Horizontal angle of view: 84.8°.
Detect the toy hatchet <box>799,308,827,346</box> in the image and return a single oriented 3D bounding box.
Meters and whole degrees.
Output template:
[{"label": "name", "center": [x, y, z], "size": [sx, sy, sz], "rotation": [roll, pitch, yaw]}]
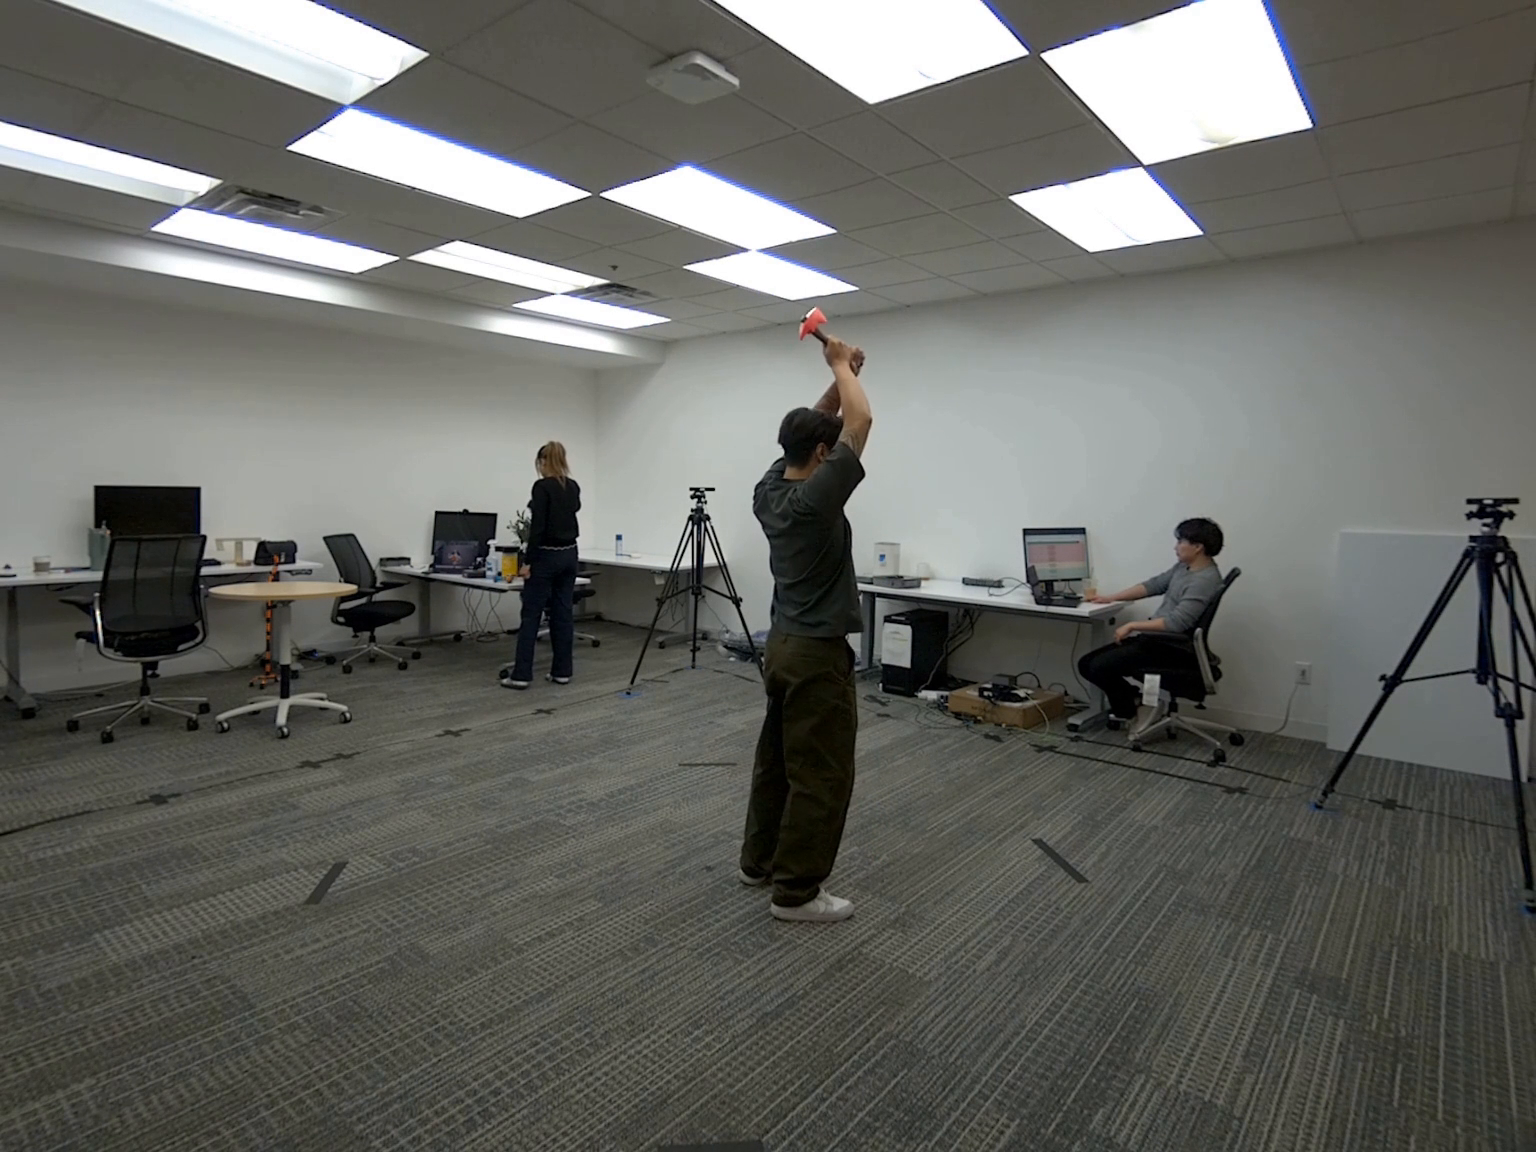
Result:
[{"label": "toy hatchet", "center": [0.220, -0.784, 2.808], "size": [0.261, 0.132, 0.030], "rotation": [14, -13, -29]}]
